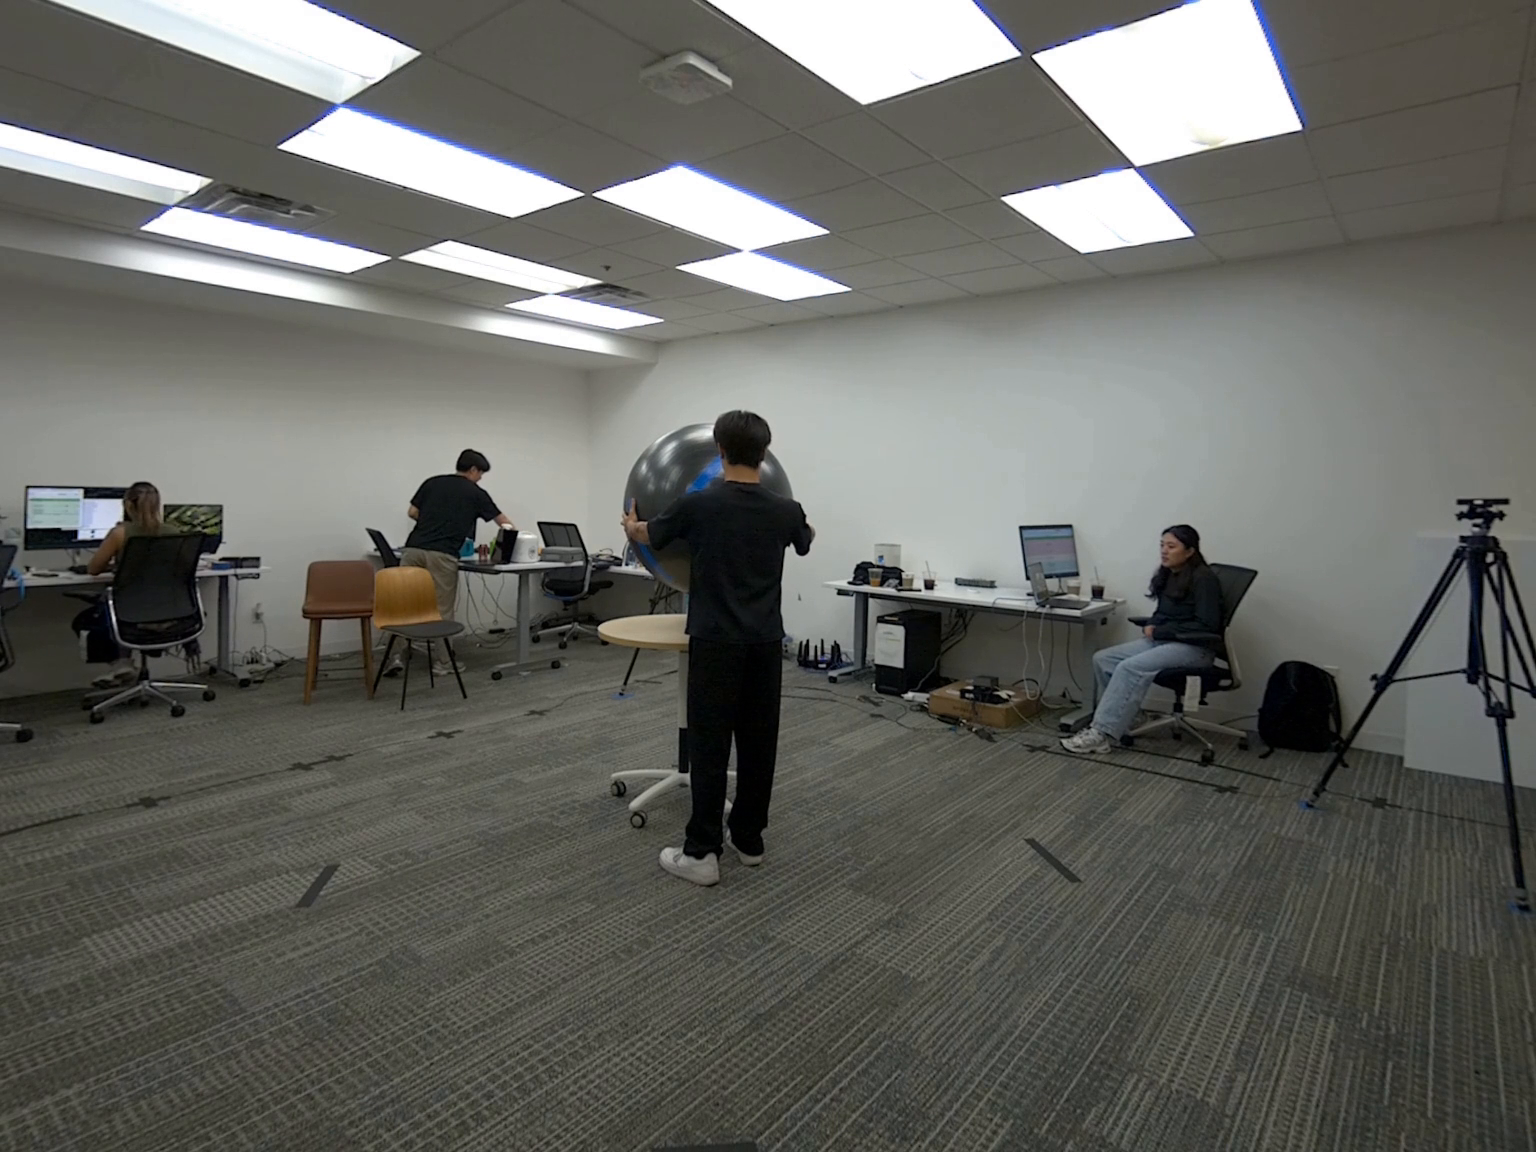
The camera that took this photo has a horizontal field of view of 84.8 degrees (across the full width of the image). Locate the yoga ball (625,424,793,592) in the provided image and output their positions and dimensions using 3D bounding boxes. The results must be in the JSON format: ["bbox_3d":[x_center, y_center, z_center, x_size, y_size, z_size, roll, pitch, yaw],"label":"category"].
[{"bbox_3d":[-0.274,-0.292,3.773,0.757,0.755,0.762,1,4,-2],"label":"yoga ball"}]
